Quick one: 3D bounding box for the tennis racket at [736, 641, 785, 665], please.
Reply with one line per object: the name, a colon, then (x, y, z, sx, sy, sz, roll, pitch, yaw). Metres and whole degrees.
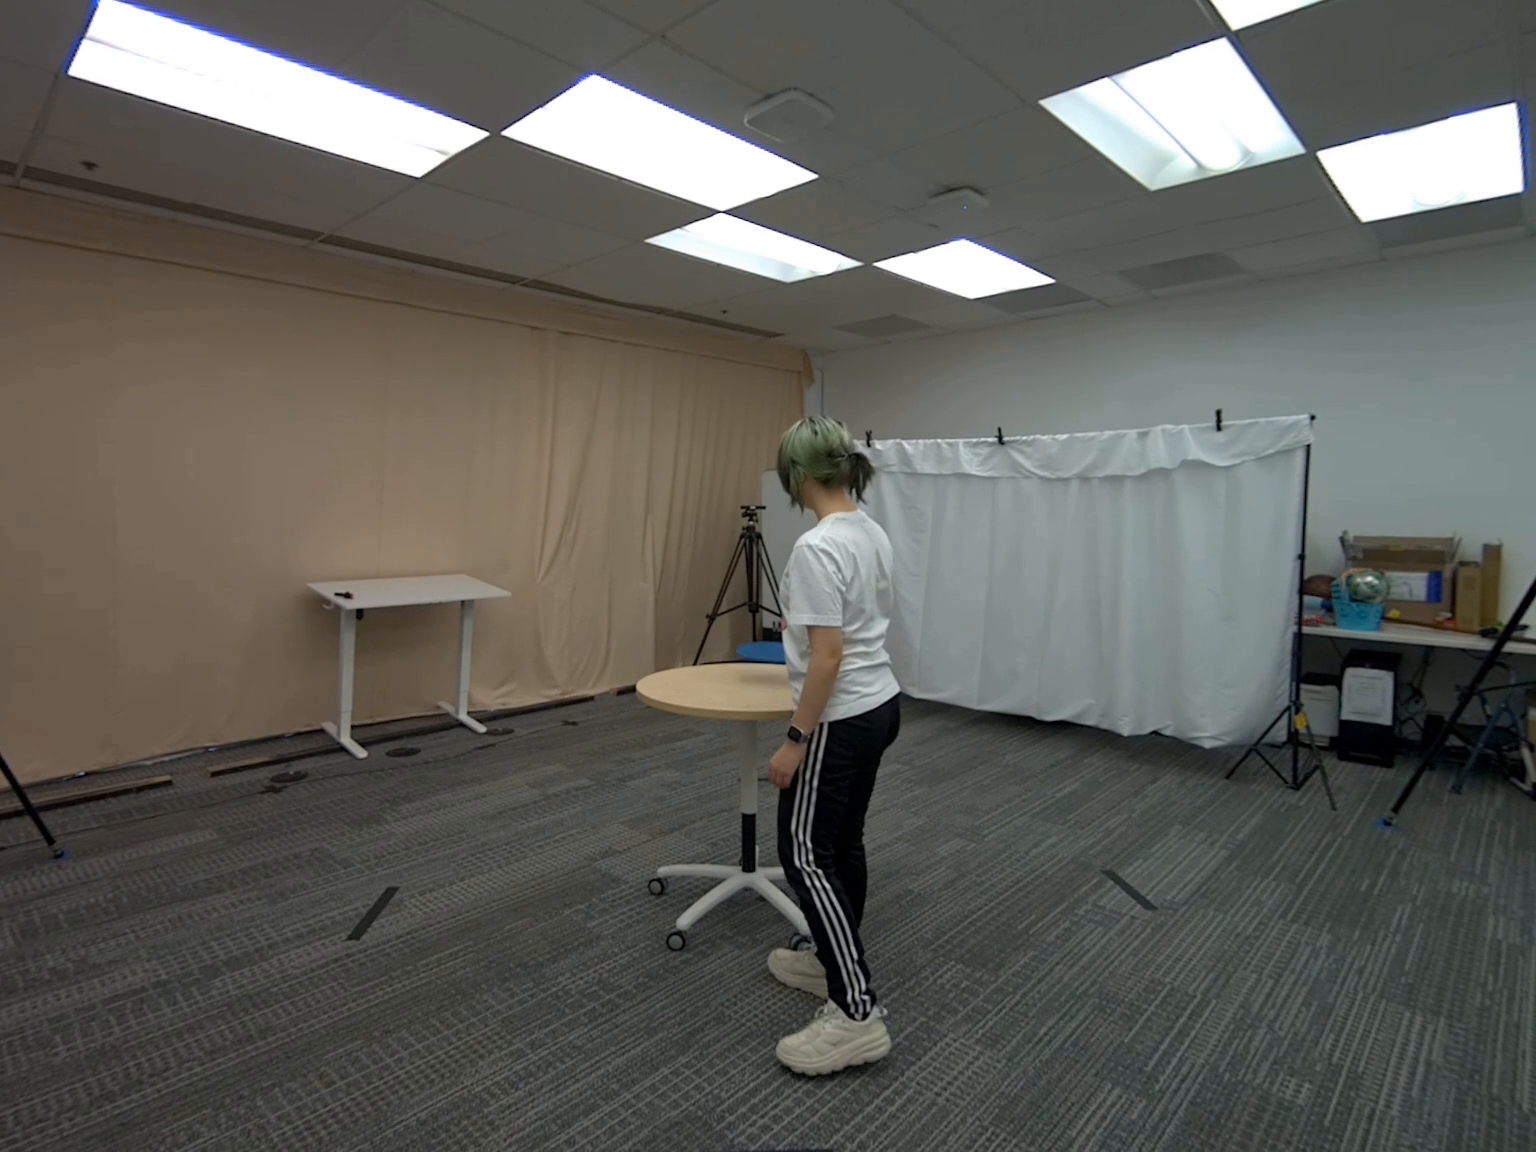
tennis racket: (0.073, 0.280, 2.884, 0.208, 0.031, 0.448, -10, 14, -40)
